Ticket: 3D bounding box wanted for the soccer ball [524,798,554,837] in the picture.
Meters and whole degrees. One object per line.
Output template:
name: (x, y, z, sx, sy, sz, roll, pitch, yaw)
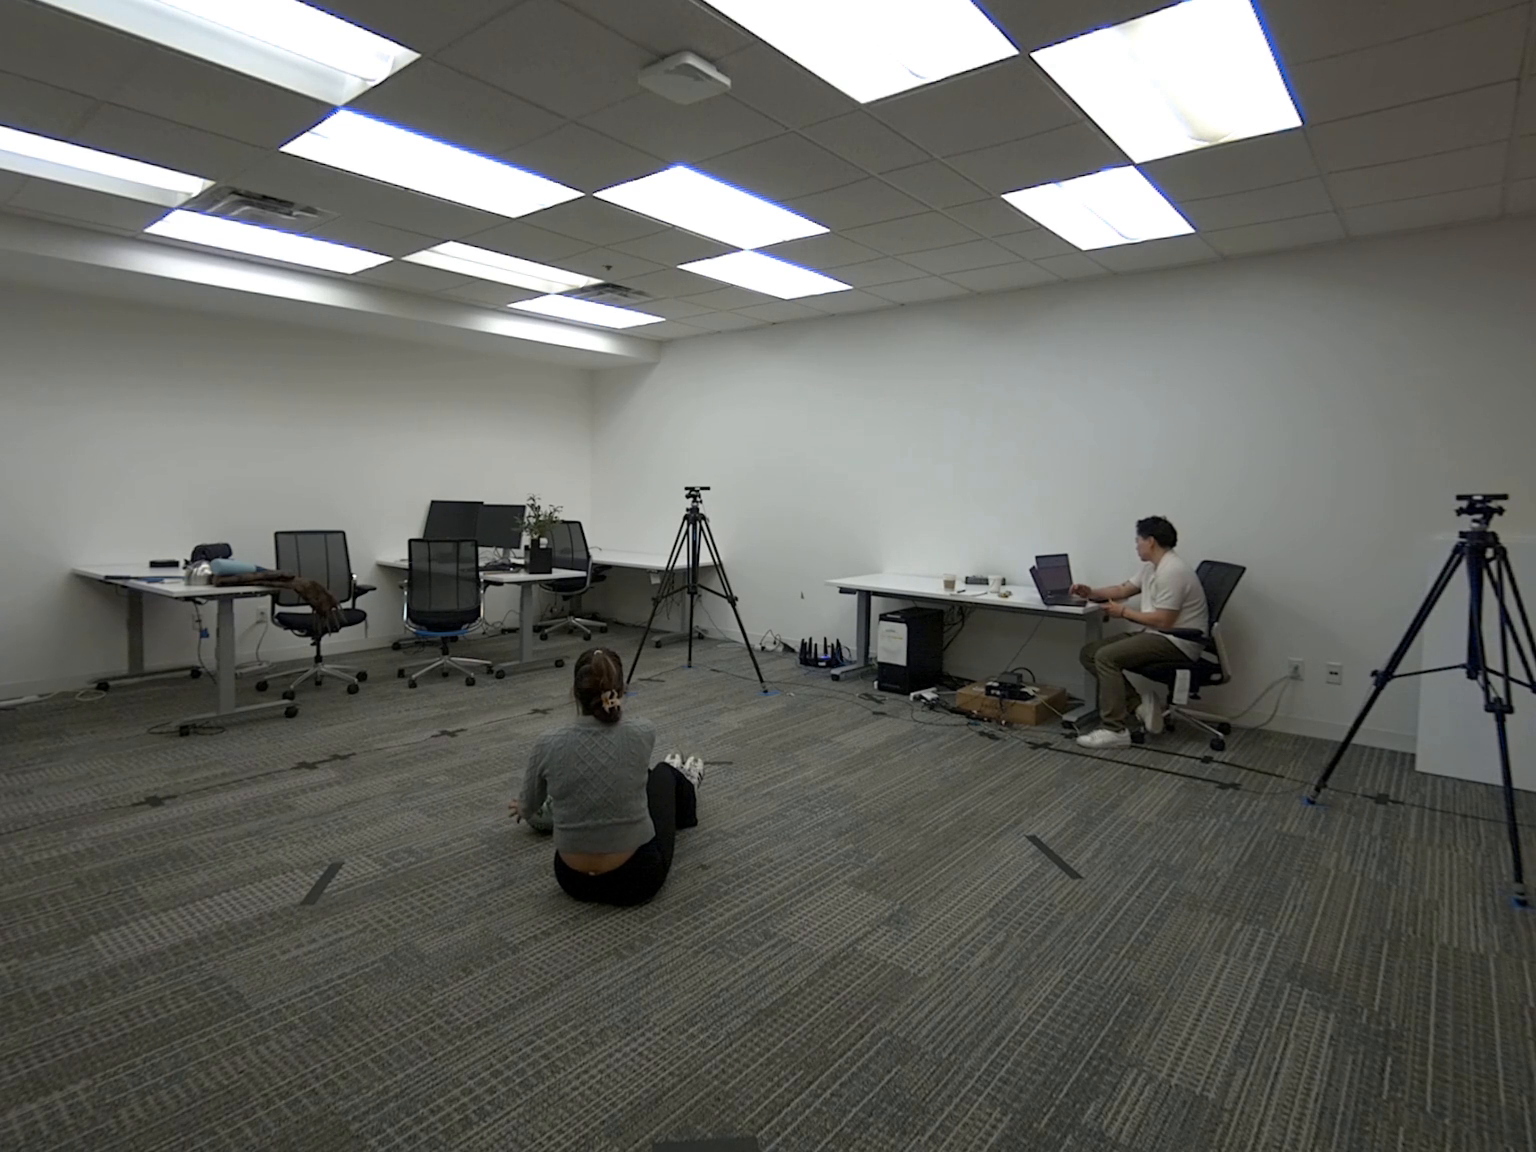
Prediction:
soccer ball: (-0.894, 0.926, 3.427, 0.187, 0.187, 0.188, 0, 4, -2)
